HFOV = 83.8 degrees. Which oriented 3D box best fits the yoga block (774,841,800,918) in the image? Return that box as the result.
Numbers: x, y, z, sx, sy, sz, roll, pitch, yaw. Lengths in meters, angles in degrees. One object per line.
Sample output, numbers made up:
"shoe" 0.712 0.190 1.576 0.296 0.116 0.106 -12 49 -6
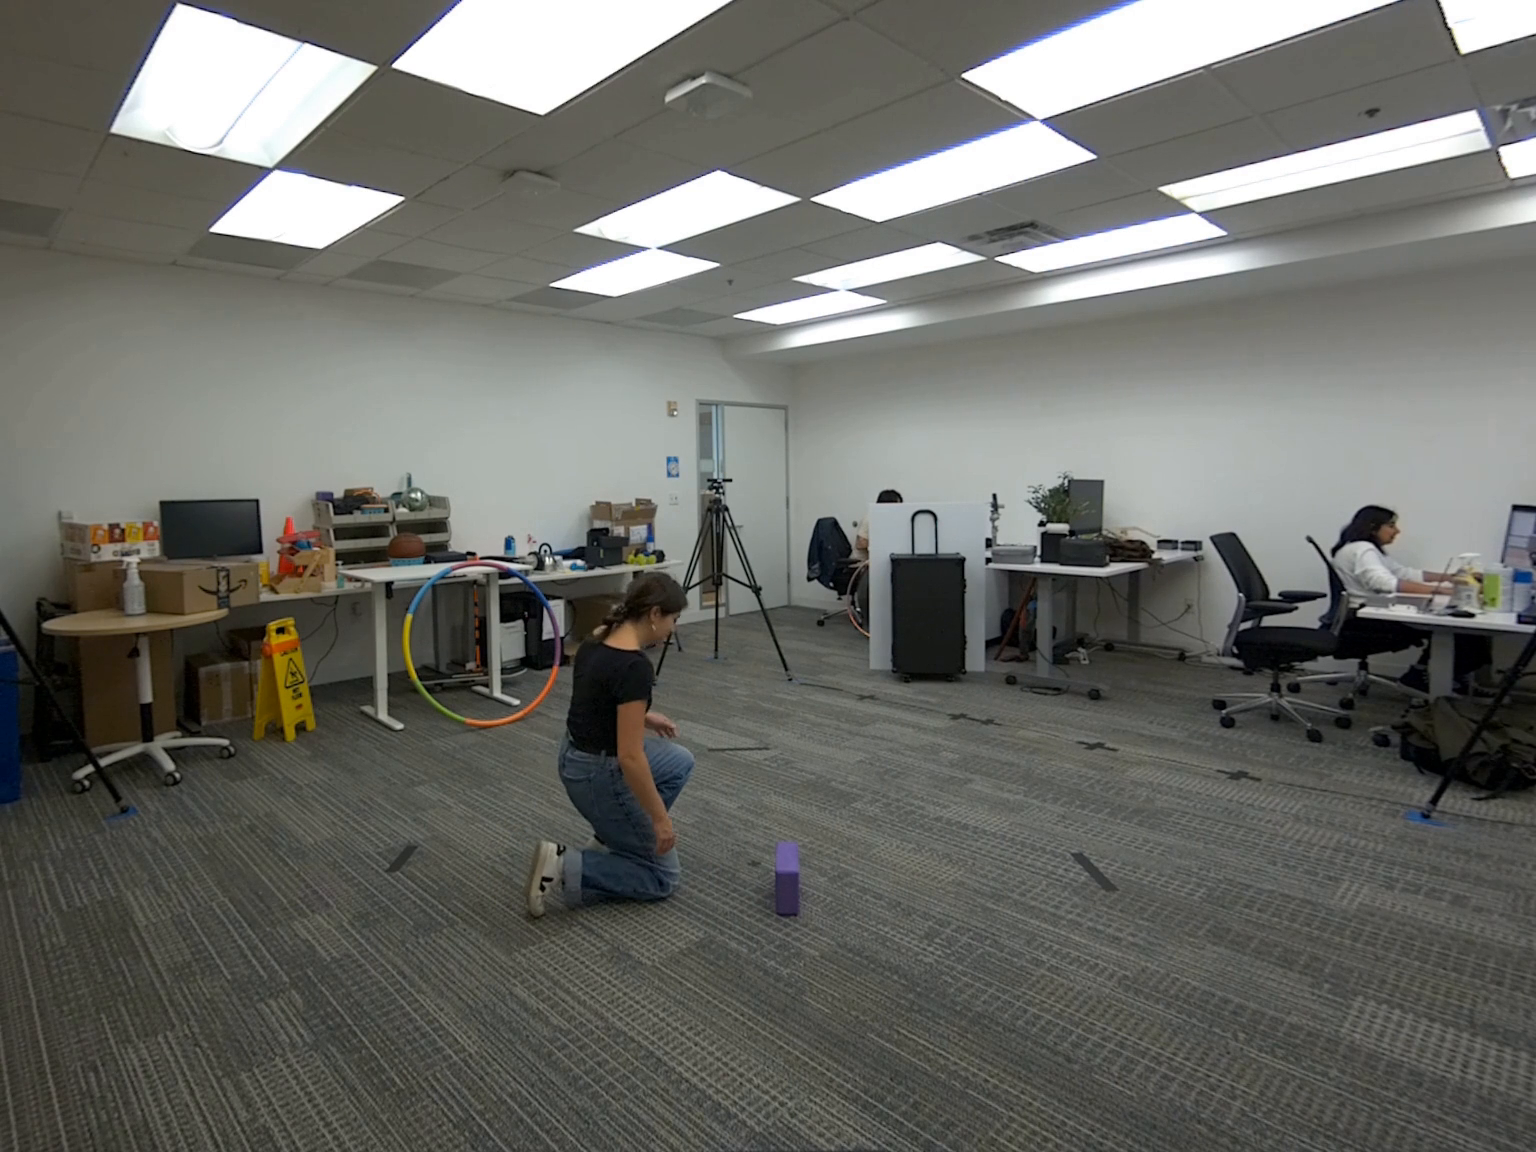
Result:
"yoga block" 0.061 0.996 2.830 0.076 0.148 0.229 0 5 1
